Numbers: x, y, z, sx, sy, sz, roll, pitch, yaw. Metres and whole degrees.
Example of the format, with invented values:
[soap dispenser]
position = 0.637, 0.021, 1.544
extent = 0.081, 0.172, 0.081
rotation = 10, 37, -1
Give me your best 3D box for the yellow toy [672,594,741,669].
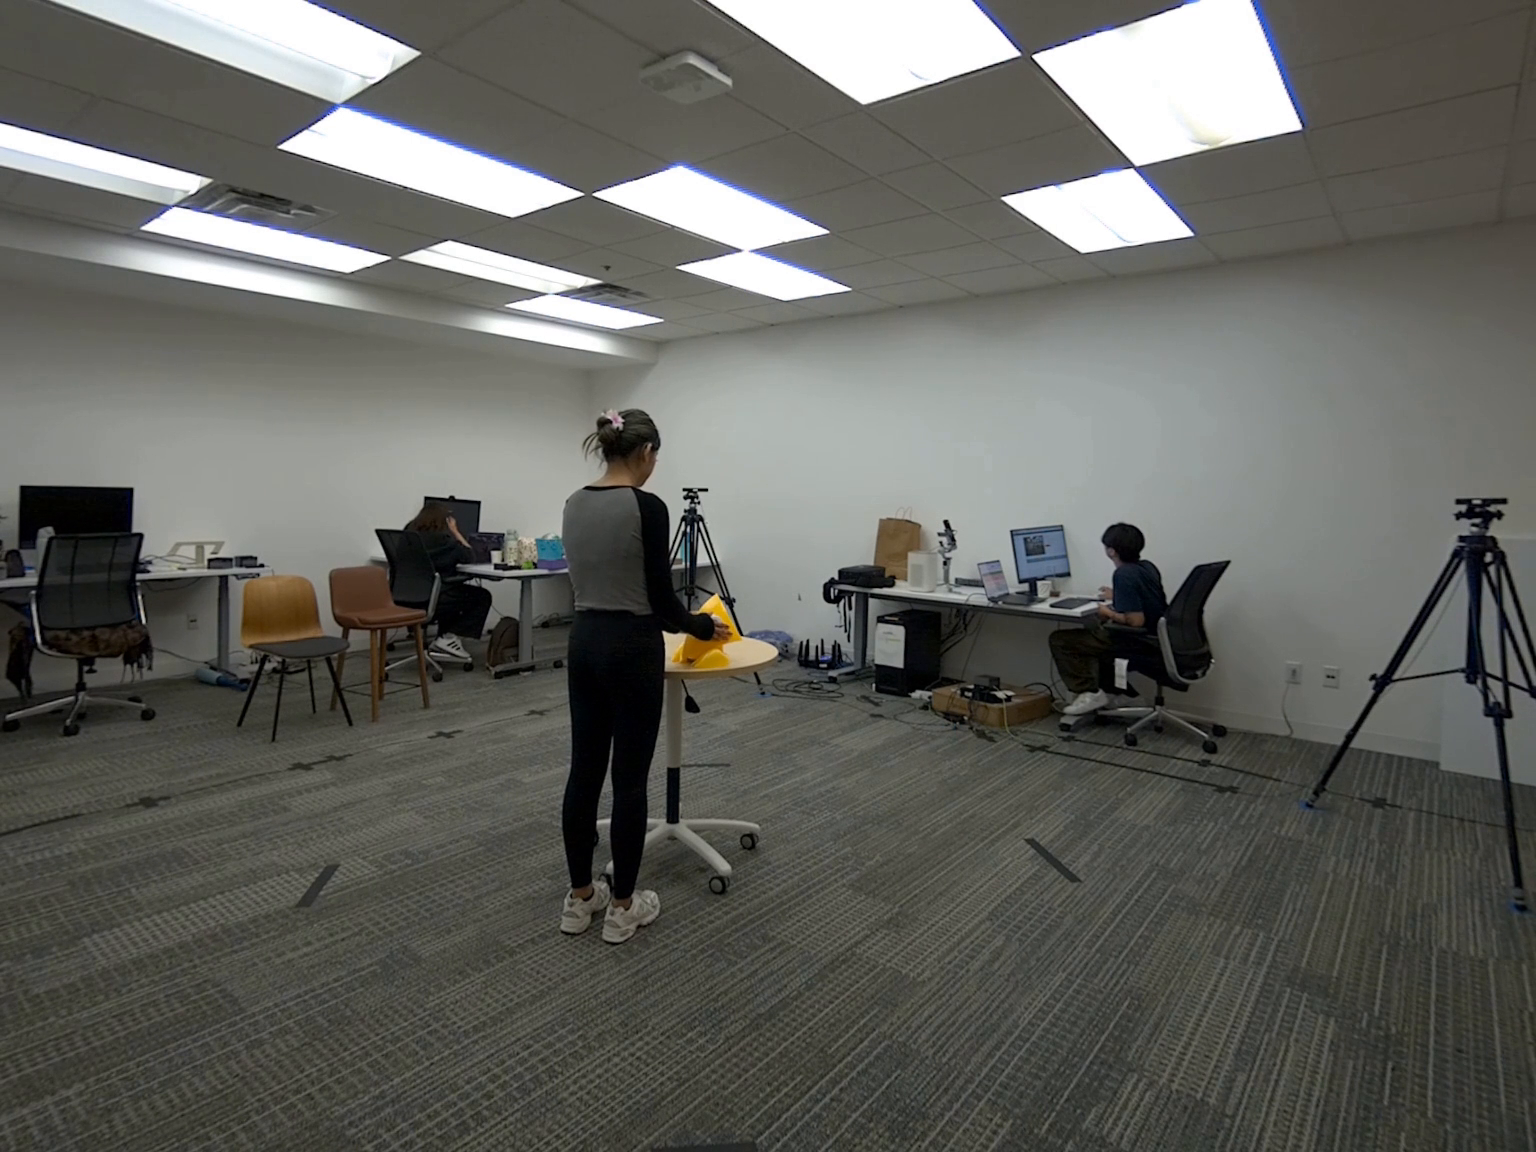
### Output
[yellow toy]
position = -0.237, 0.181, 2.938
extent = 0.187, 0.229, 0.212
rotation = -6, 8, -44
